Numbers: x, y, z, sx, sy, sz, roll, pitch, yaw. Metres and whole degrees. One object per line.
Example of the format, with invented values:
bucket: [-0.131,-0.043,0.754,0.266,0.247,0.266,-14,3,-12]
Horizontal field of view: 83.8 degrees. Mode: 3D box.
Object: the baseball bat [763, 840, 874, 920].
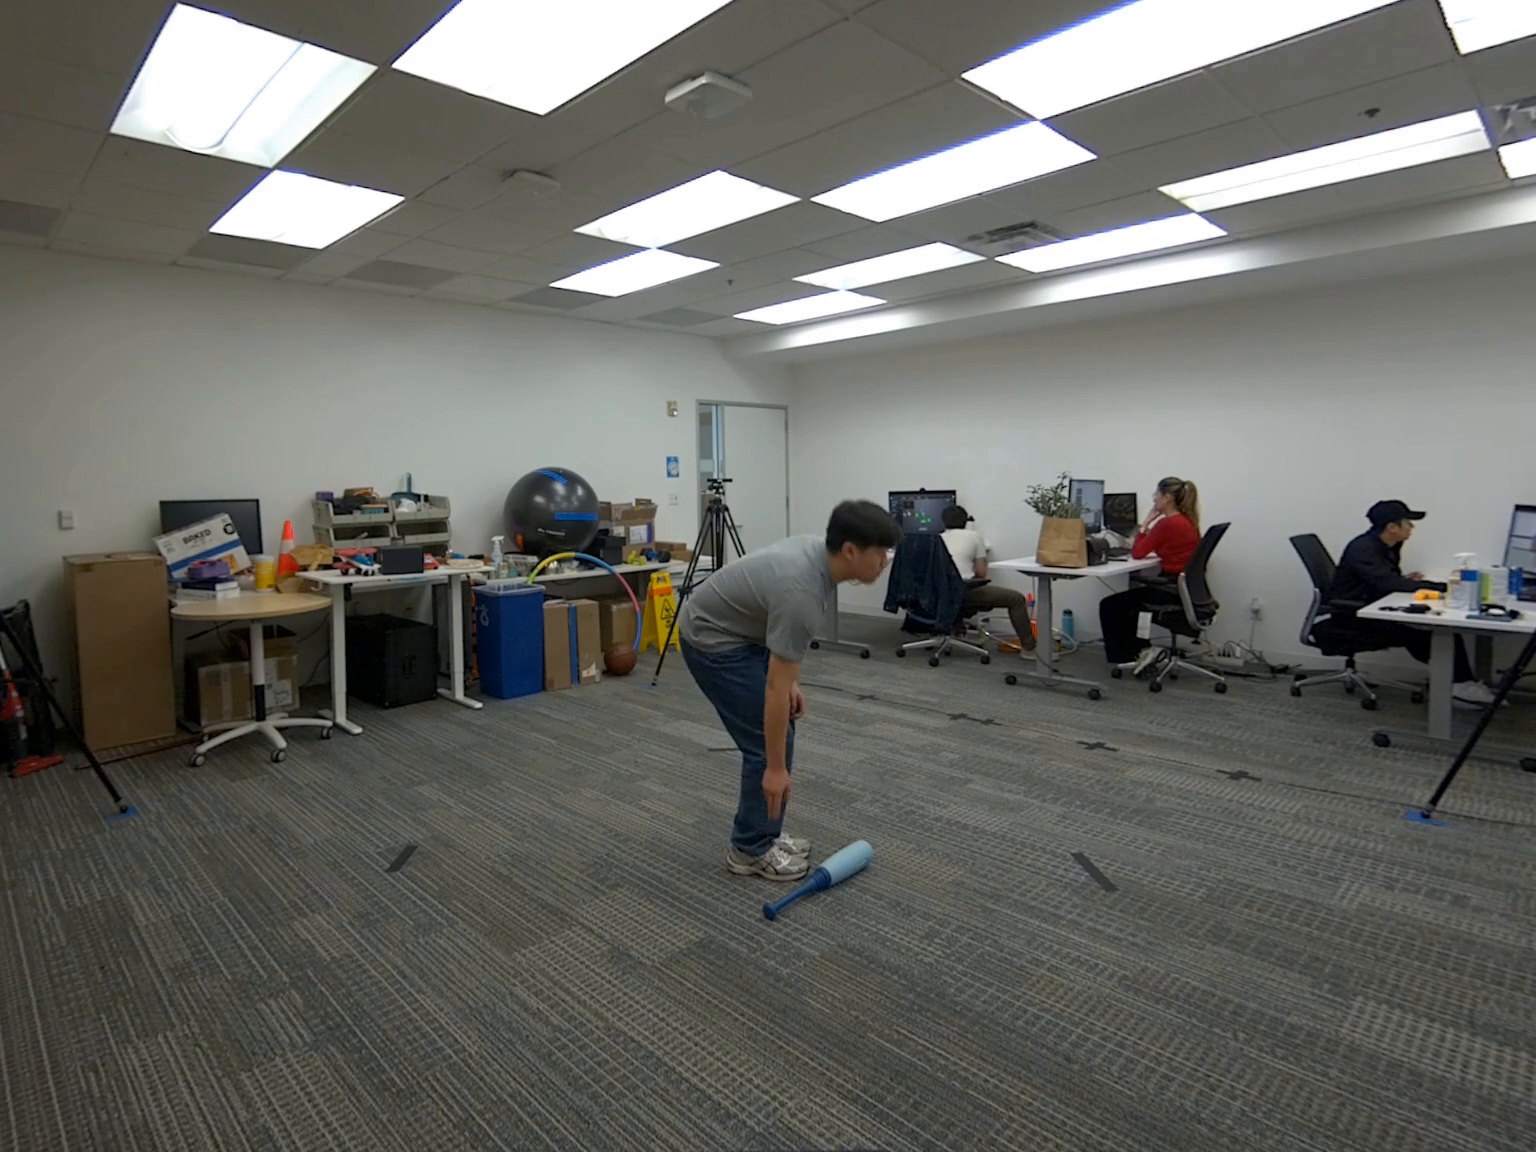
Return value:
baseball bat: [0.178,1.028,2.893,0.092,0.088,0.530,3,10,43]
